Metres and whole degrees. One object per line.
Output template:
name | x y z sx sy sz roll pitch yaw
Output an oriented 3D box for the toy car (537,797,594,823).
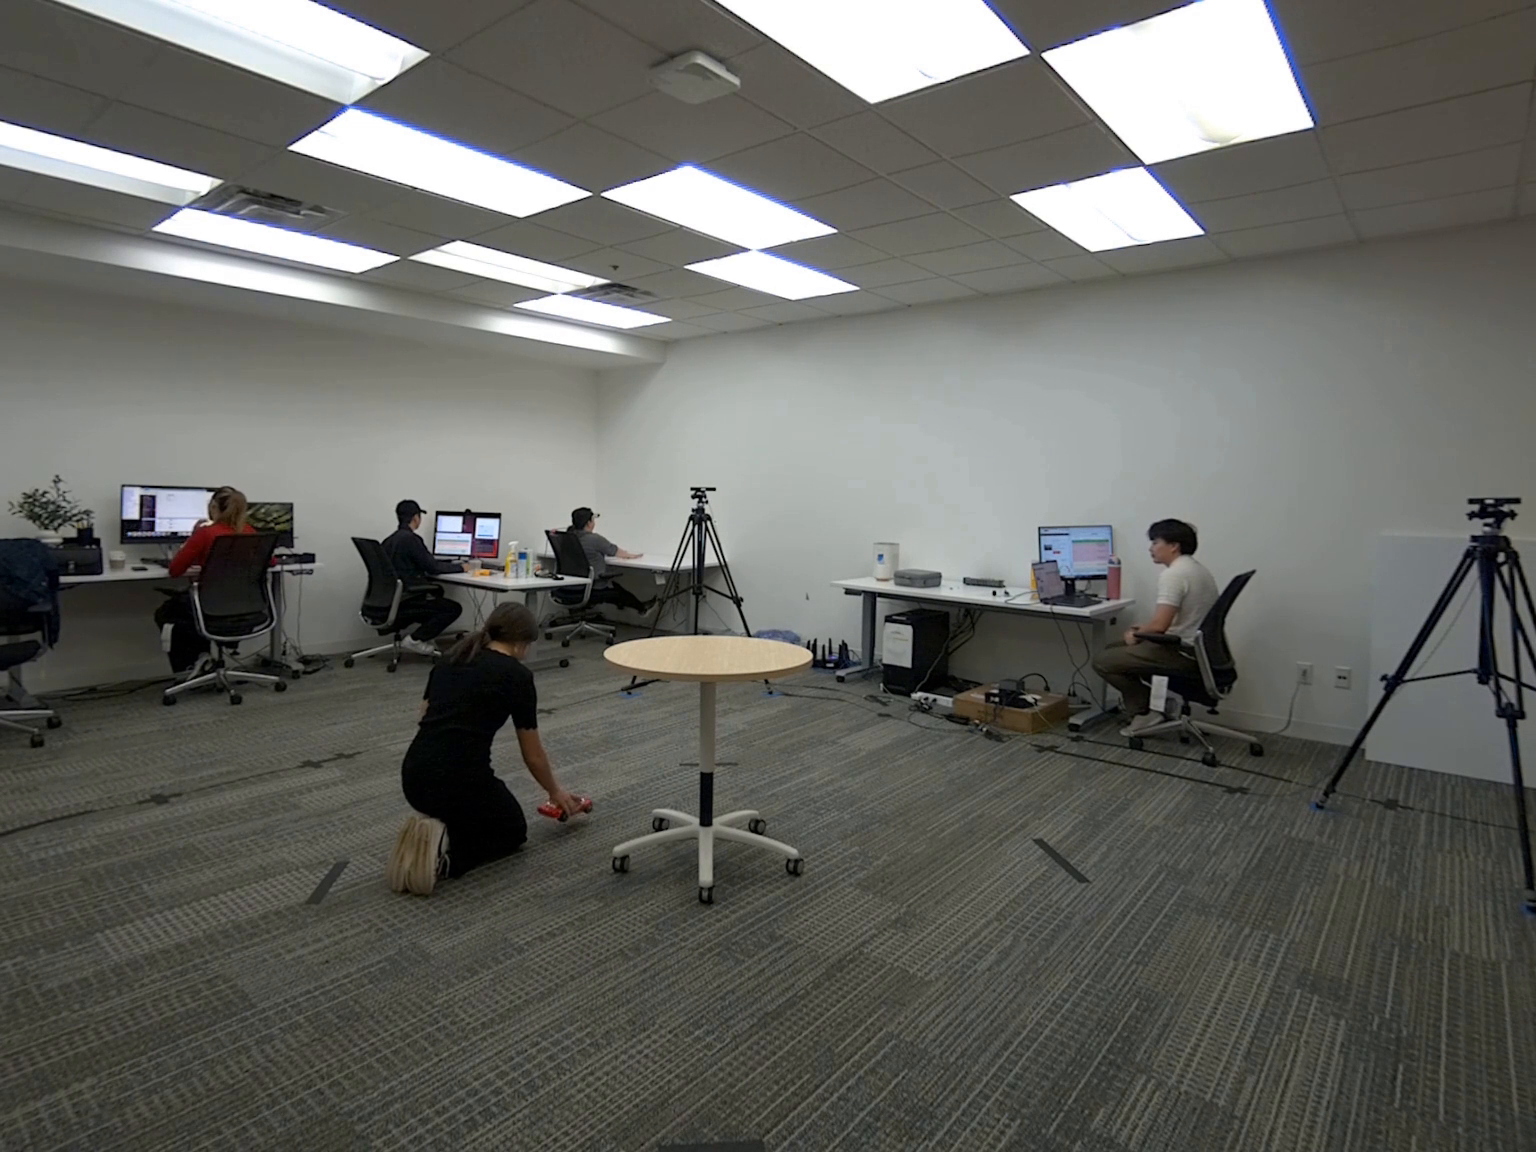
toy car | -0.843 0.931 3.450 0.134 0.084 0.245 5 -8 32
